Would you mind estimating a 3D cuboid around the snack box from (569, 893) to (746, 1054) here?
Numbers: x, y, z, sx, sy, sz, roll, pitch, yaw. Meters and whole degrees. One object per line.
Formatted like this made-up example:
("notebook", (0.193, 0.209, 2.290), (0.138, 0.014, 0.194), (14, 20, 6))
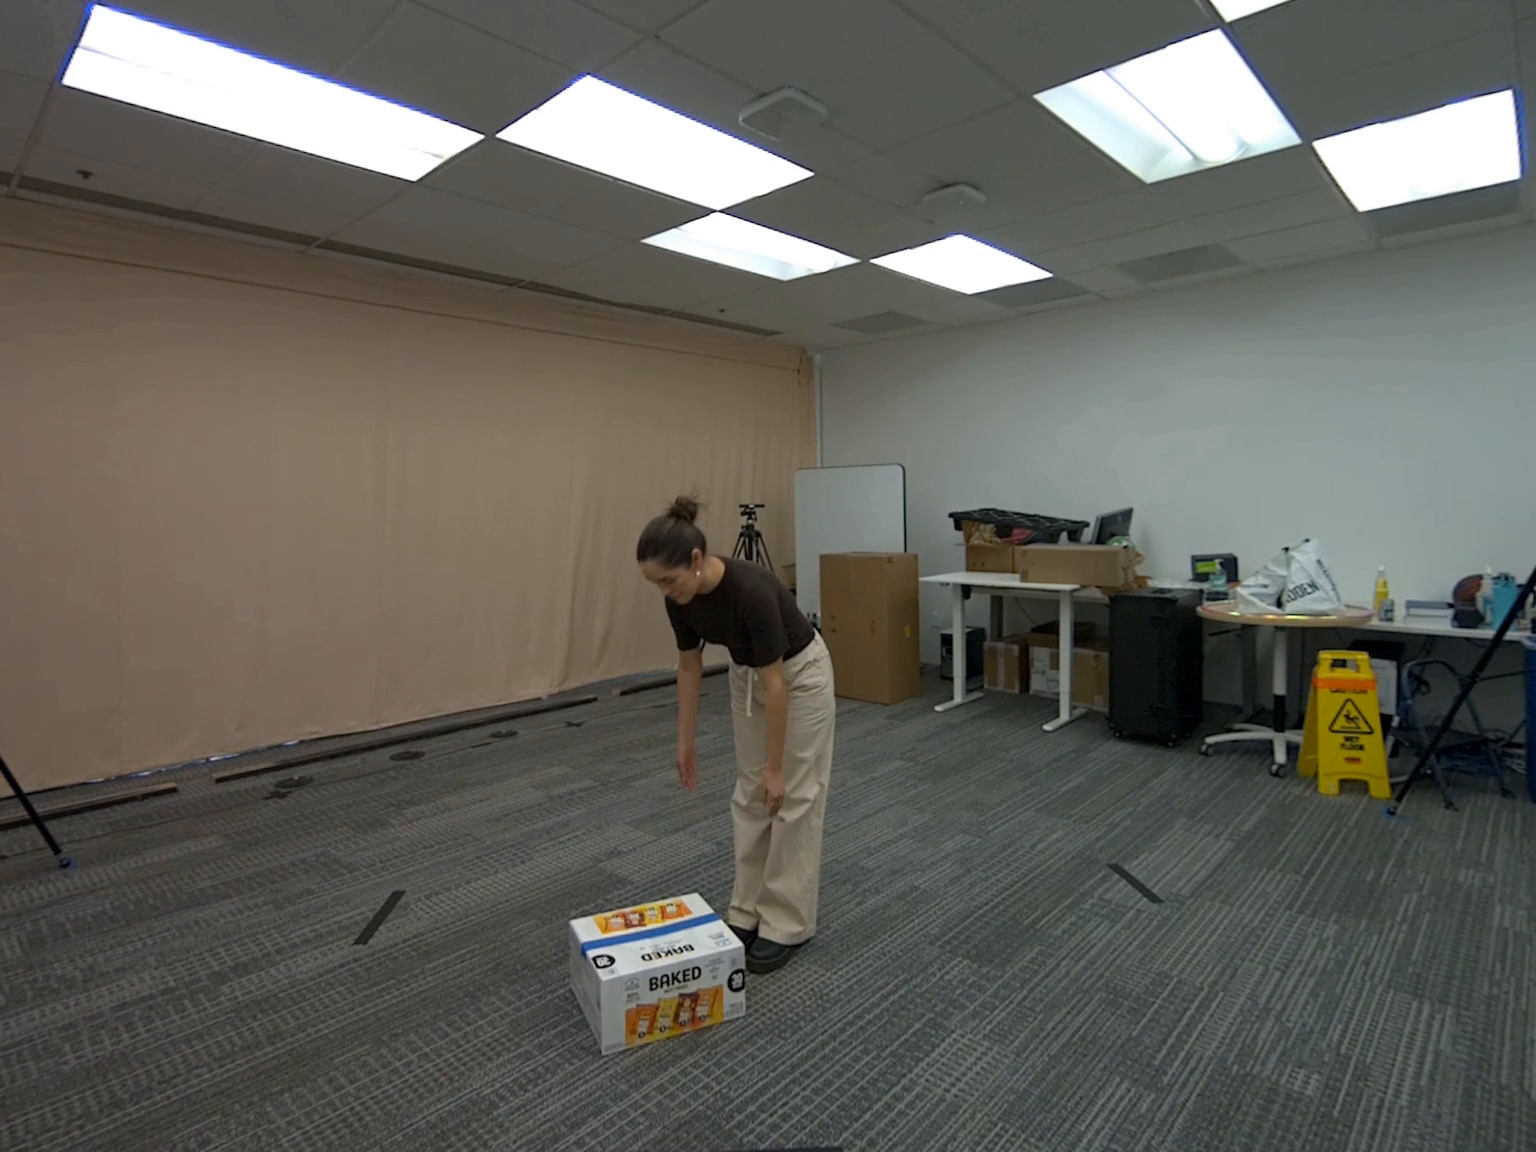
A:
("snack box", (-0.315, 1.101, 2.352), (0.396, 0.205, 0.349), (-3, 4, -25))
